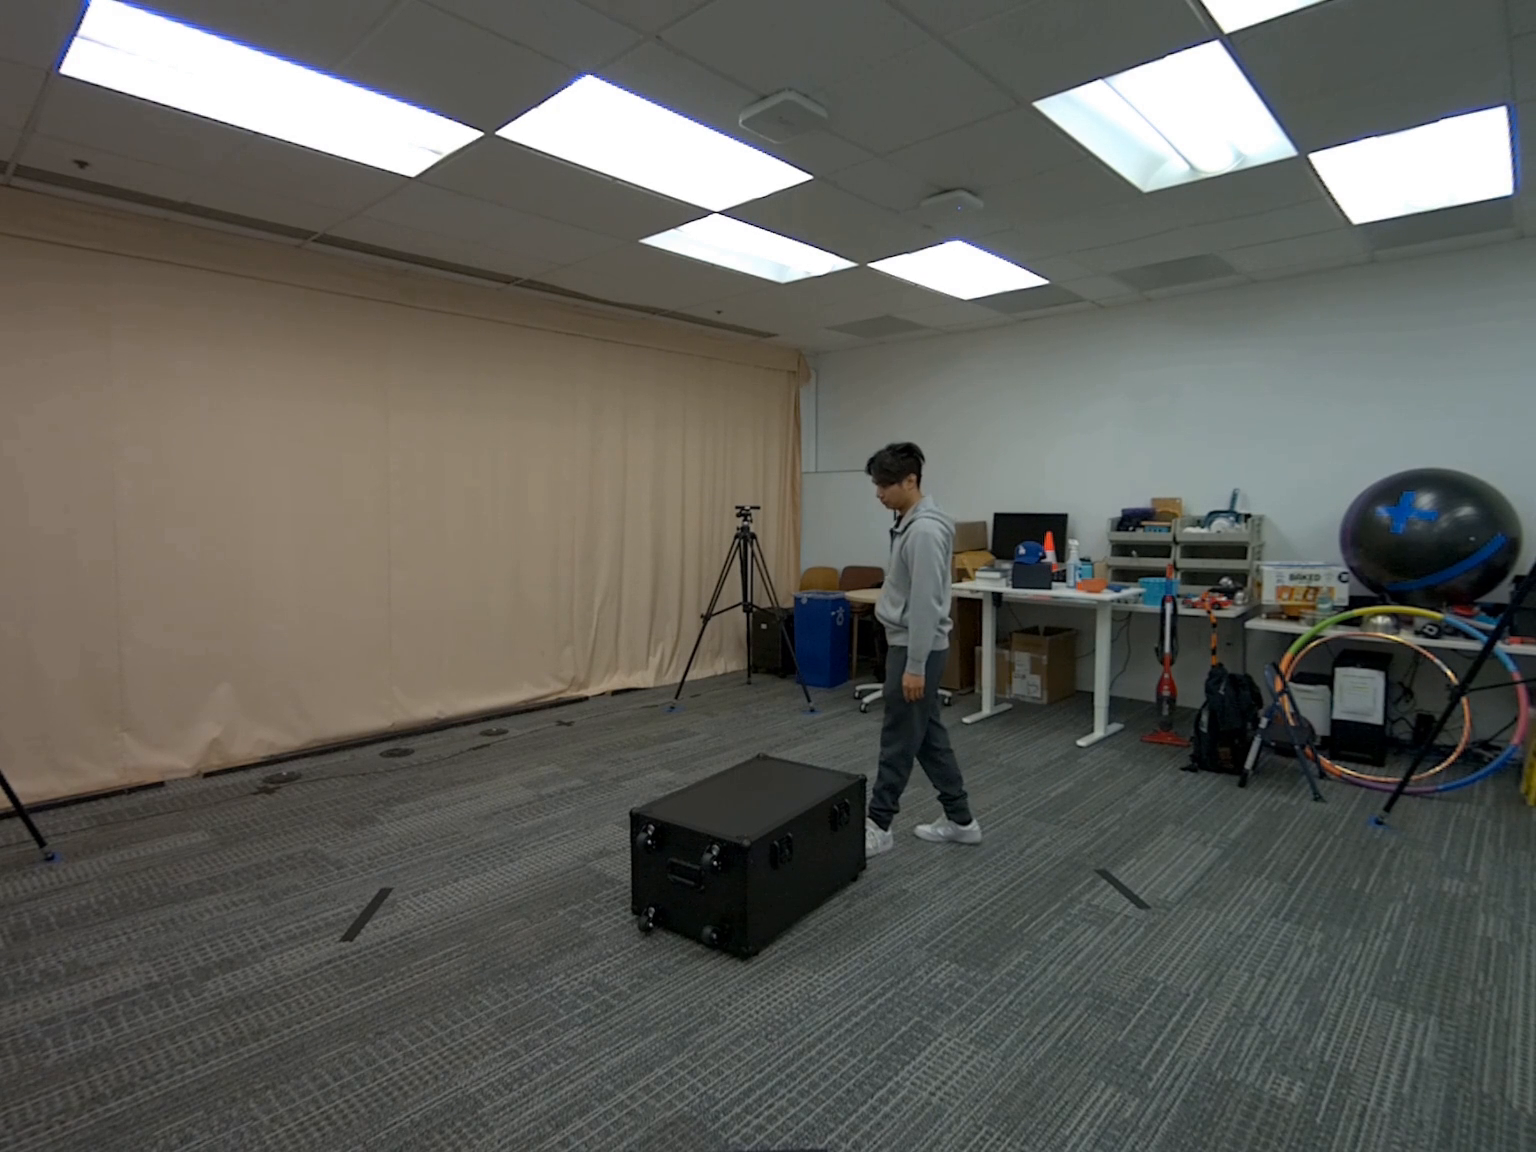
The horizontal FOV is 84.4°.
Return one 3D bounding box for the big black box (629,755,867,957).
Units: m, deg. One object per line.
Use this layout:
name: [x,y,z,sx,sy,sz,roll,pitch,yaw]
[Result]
big black box: [-0.064,0.955,2.967,0.538,0.395,0.837,2,5,35]
